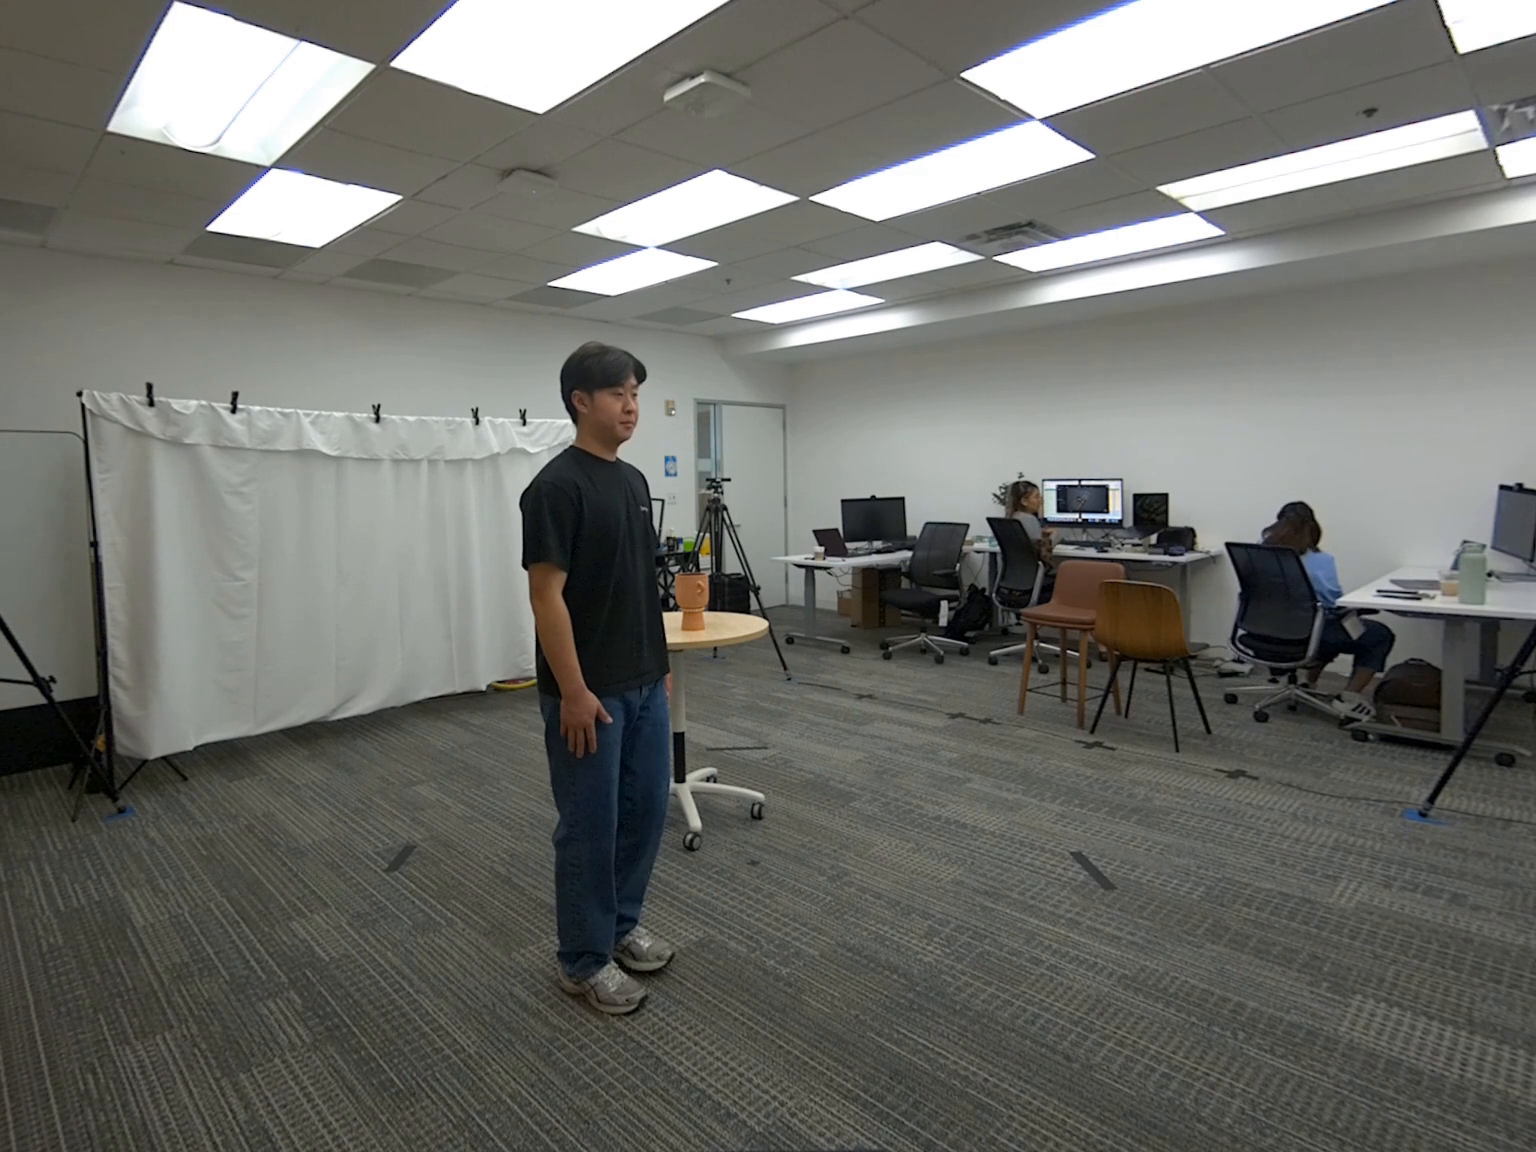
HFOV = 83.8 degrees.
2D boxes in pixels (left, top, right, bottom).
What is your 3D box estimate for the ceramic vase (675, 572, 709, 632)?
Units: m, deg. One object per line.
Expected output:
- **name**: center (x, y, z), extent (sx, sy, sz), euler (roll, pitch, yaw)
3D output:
- **ceramic vase**: center (-0.305, 0.105, 3.432), extent (0.136, 0.219, 0.158), euler (-2, 4, 9)
